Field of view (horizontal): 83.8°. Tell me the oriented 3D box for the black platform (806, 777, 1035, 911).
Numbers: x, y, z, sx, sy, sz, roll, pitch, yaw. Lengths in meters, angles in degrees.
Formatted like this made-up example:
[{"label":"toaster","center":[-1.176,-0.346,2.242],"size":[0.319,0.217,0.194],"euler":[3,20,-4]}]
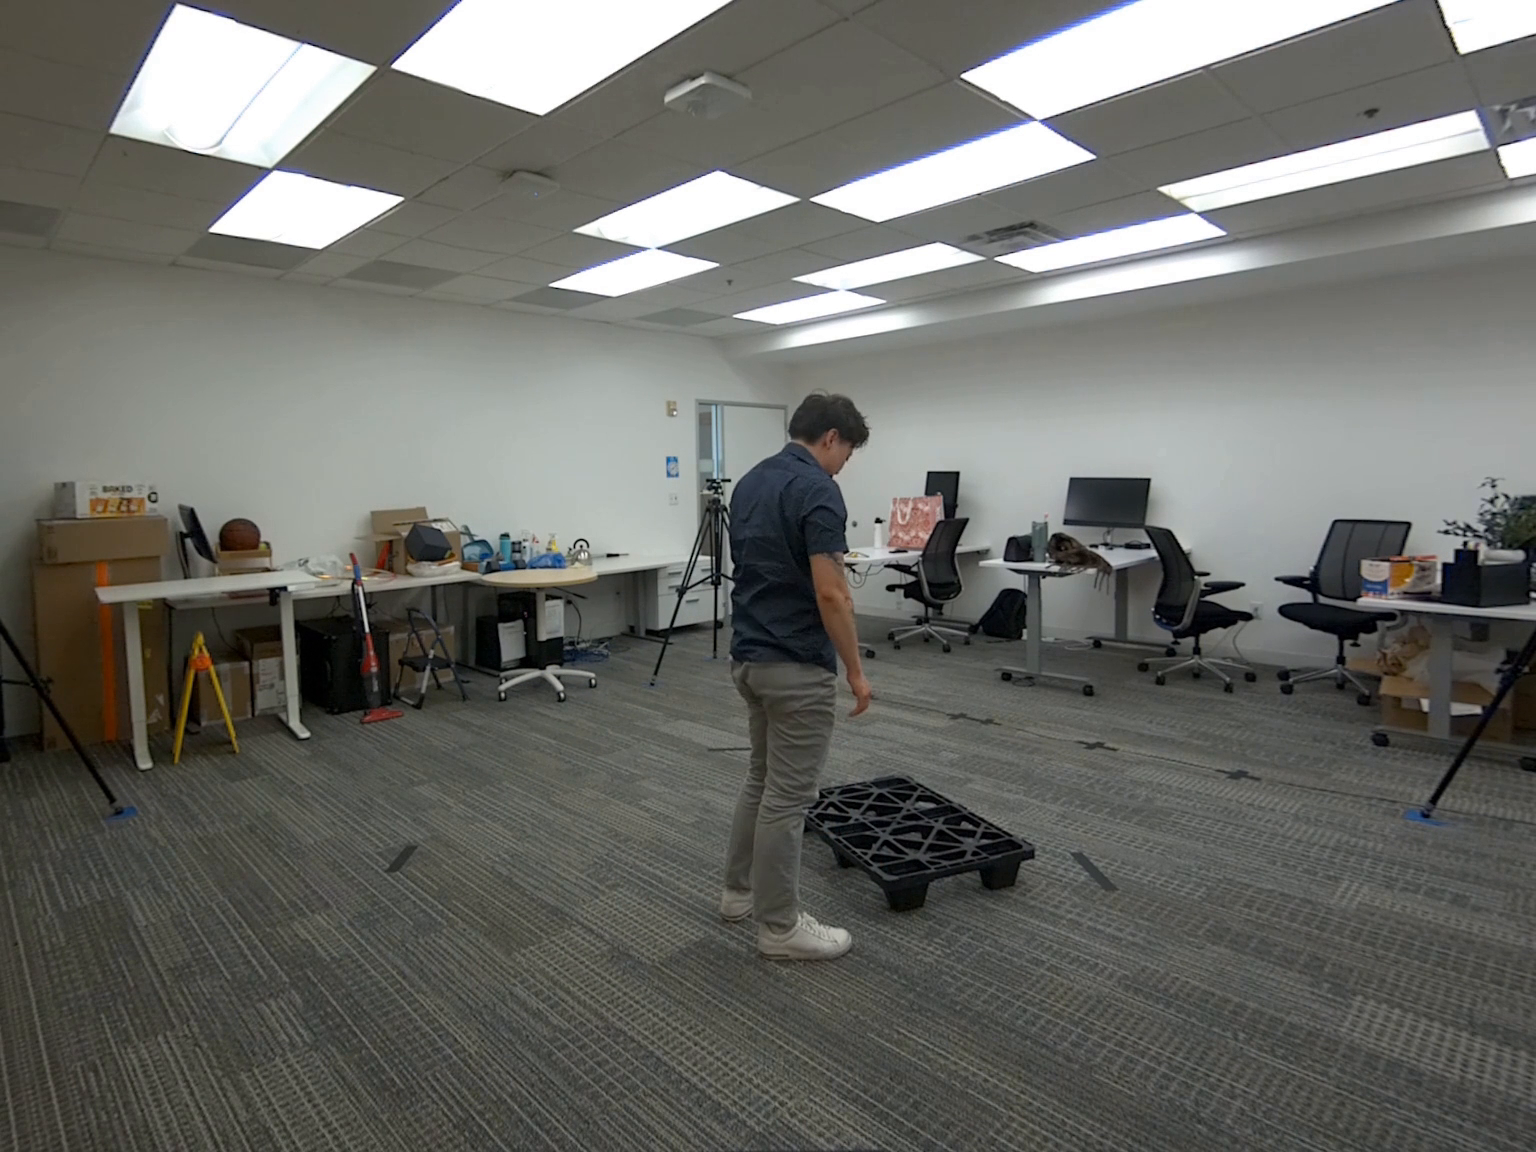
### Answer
[{"label":"black platform","center":[0.479,0.963,3.159],"size":[0.593,0.143,0.825],"euler":[-3,7,-23]}]
